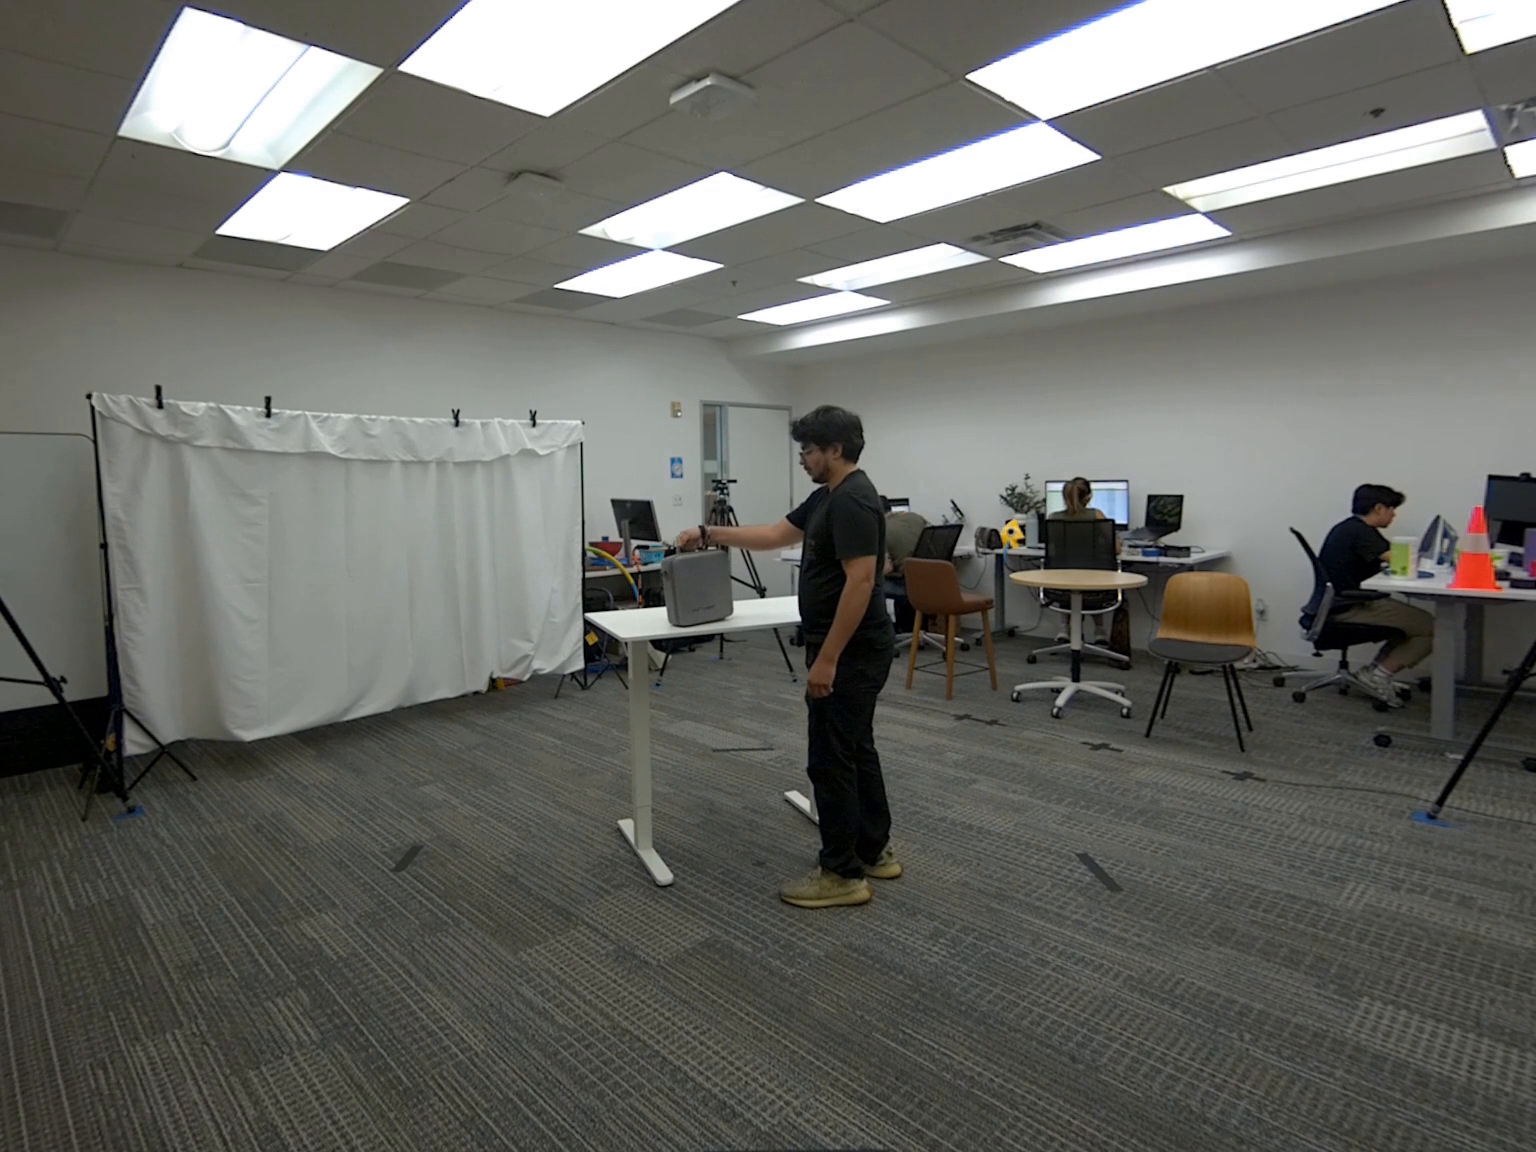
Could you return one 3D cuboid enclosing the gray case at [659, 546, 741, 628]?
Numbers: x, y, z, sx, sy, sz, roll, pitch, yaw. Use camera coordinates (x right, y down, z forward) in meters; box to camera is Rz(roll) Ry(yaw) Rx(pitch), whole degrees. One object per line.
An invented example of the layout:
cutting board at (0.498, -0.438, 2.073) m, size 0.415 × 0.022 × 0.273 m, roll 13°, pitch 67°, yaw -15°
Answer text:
gray case at (-0.246, 0.034, 3.095) m, size 0.250 × 0.260 × 0.107 m, roll -9°, pitch 2°, yaw -41°
